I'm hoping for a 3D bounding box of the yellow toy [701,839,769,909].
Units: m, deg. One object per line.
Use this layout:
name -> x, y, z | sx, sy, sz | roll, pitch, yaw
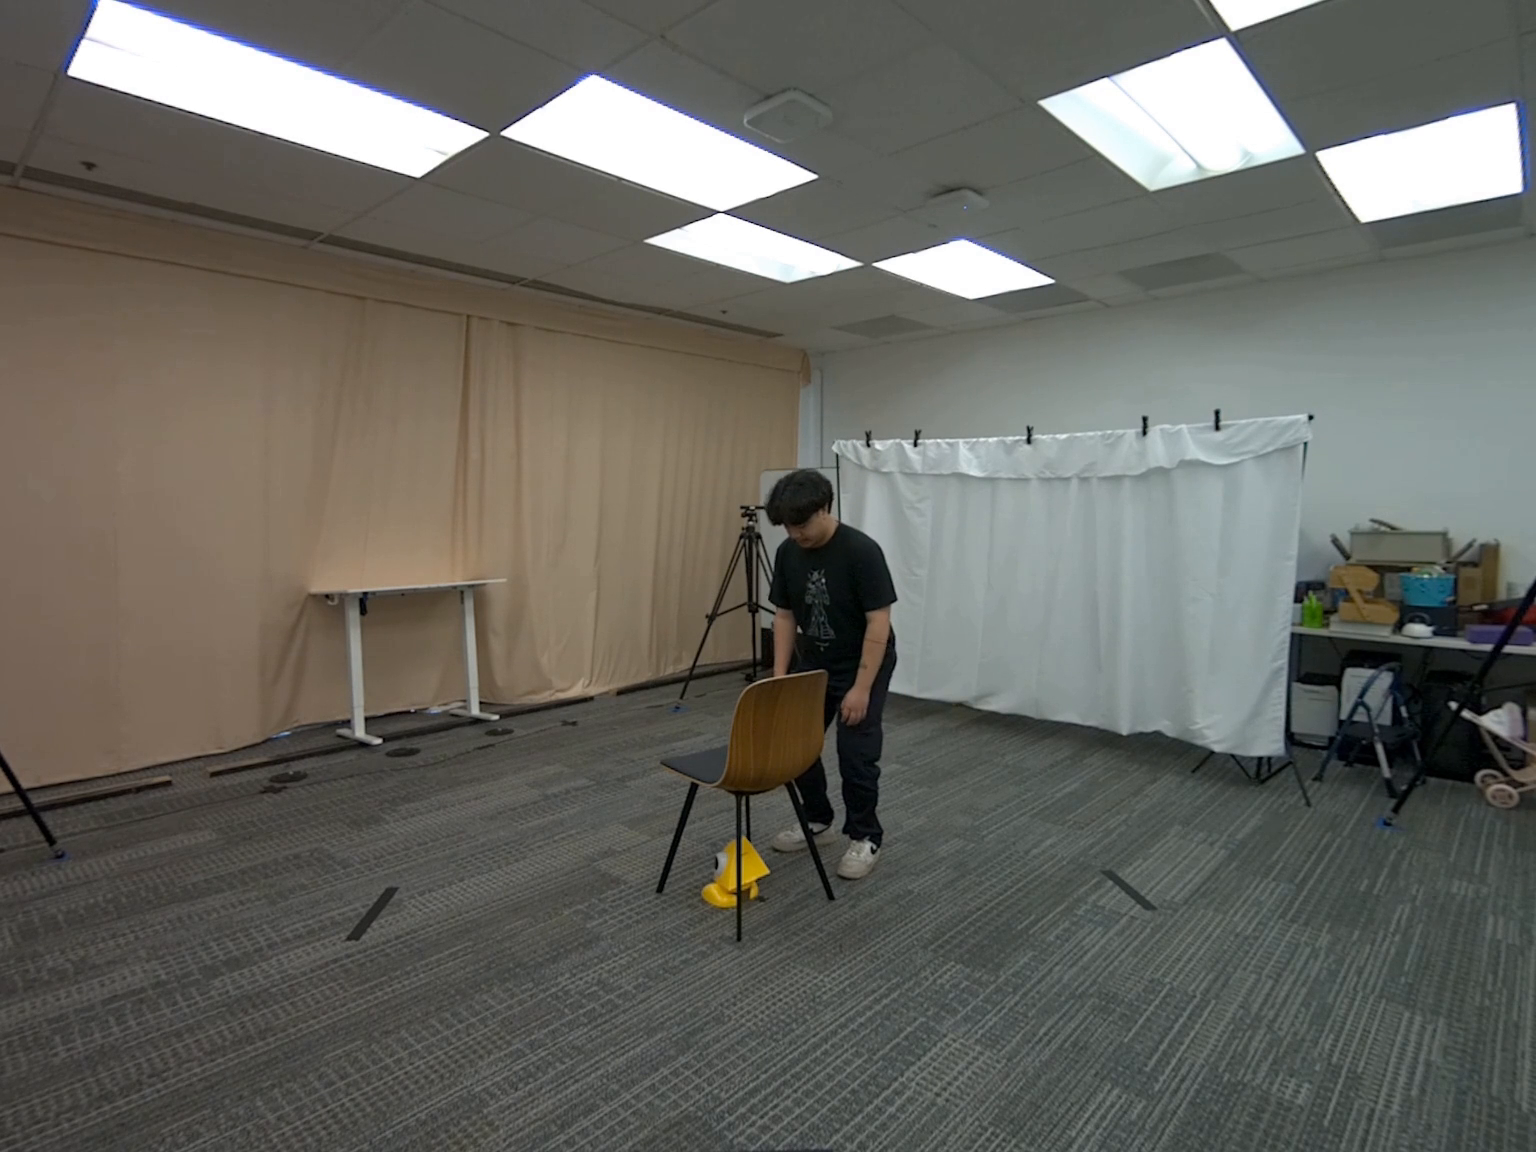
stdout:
yellow toy -> -0.129, 1.032, 3.008 | 0.198, 0.230, 0.199 | -4, 4, -45
